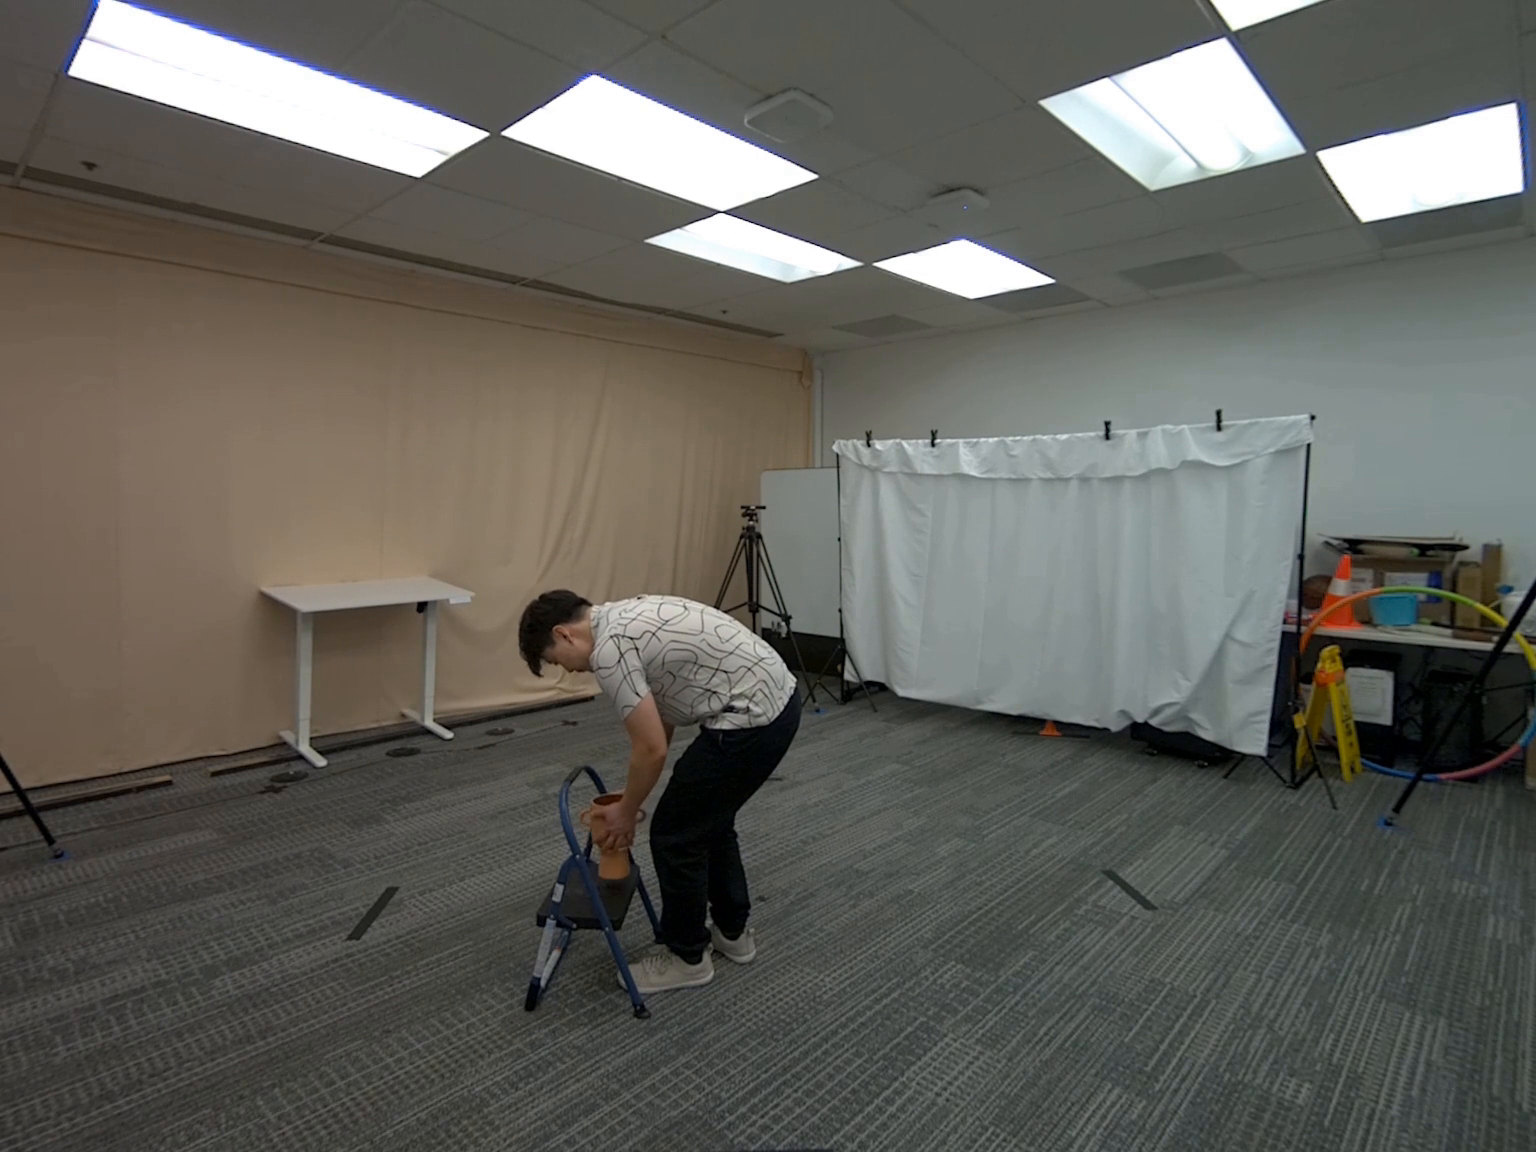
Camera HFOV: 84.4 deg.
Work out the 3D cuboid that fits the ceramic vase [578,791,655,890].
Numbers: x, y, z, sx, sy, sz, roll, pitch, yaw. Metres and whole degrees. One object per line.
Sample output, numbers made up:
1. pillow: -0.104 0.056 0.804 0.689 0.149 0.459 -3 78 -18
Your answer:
1. ceramic vase: -0.450 0.774 2.504 0.163 0.219 0.131 -2 3 35
